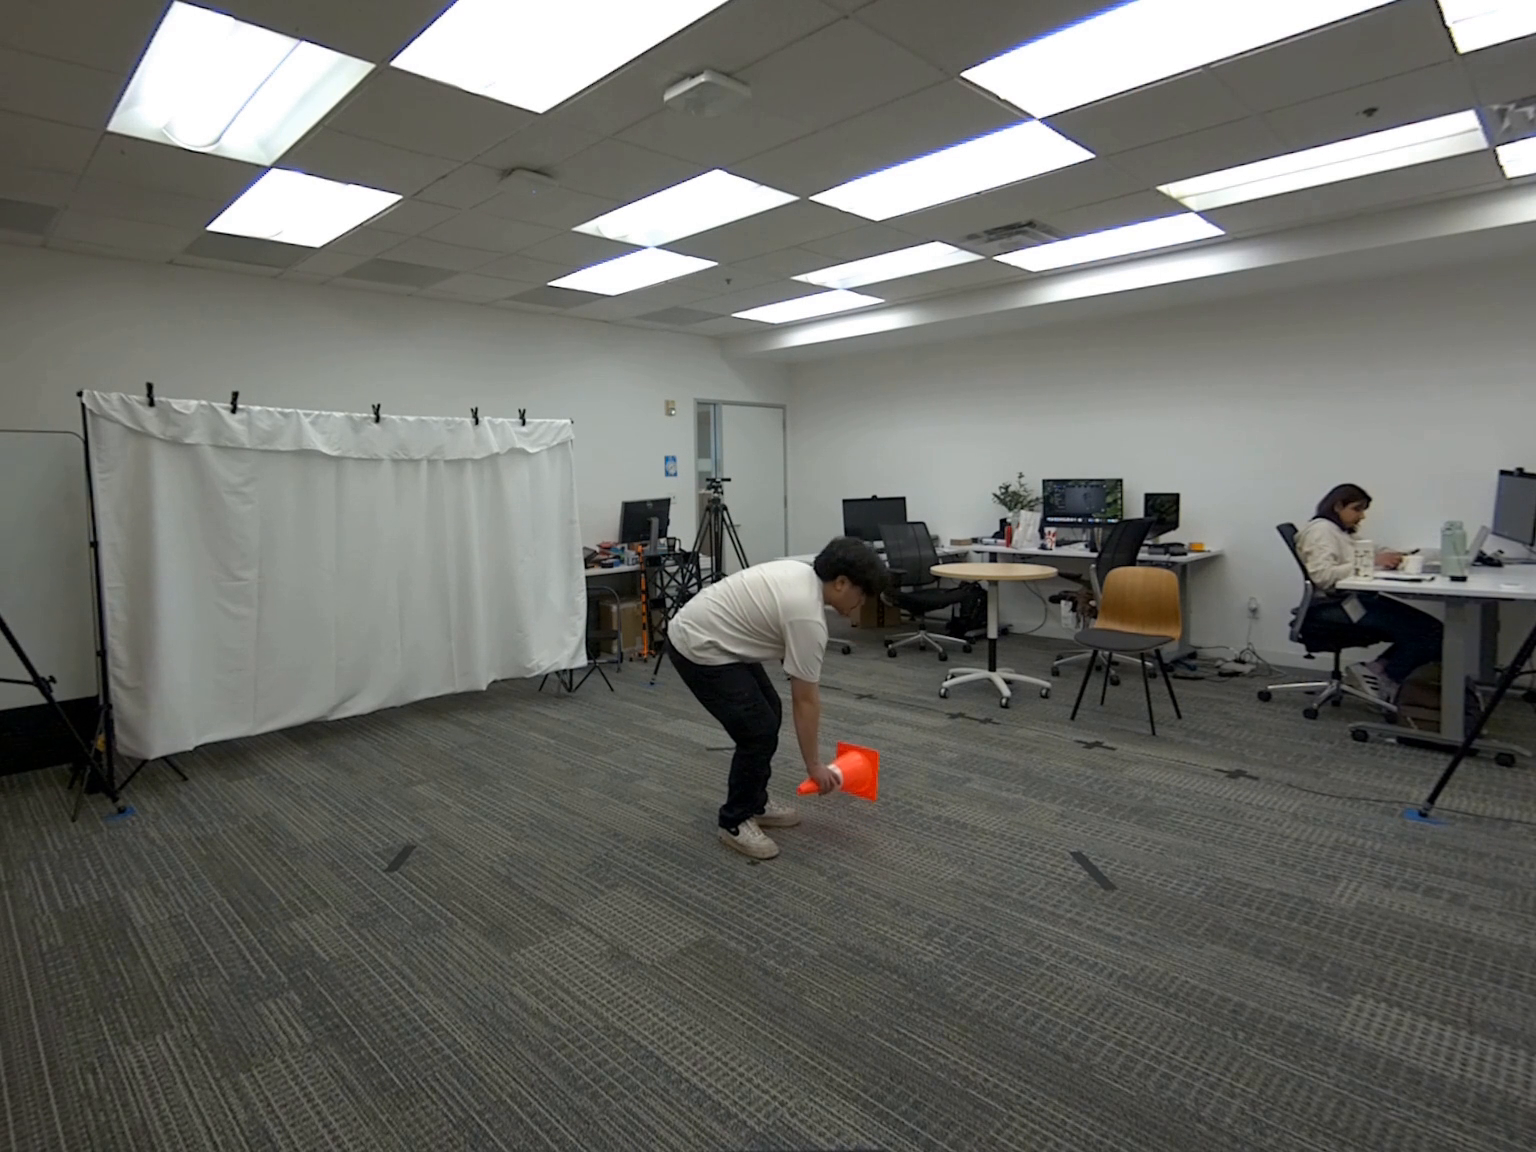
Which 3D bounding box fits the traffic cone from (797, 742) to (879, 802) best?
[{"bbox_3d":[0.240,0.784,3.284,0.211,0.203,0.373,6,6,39],"label":"traffic cone"}]
